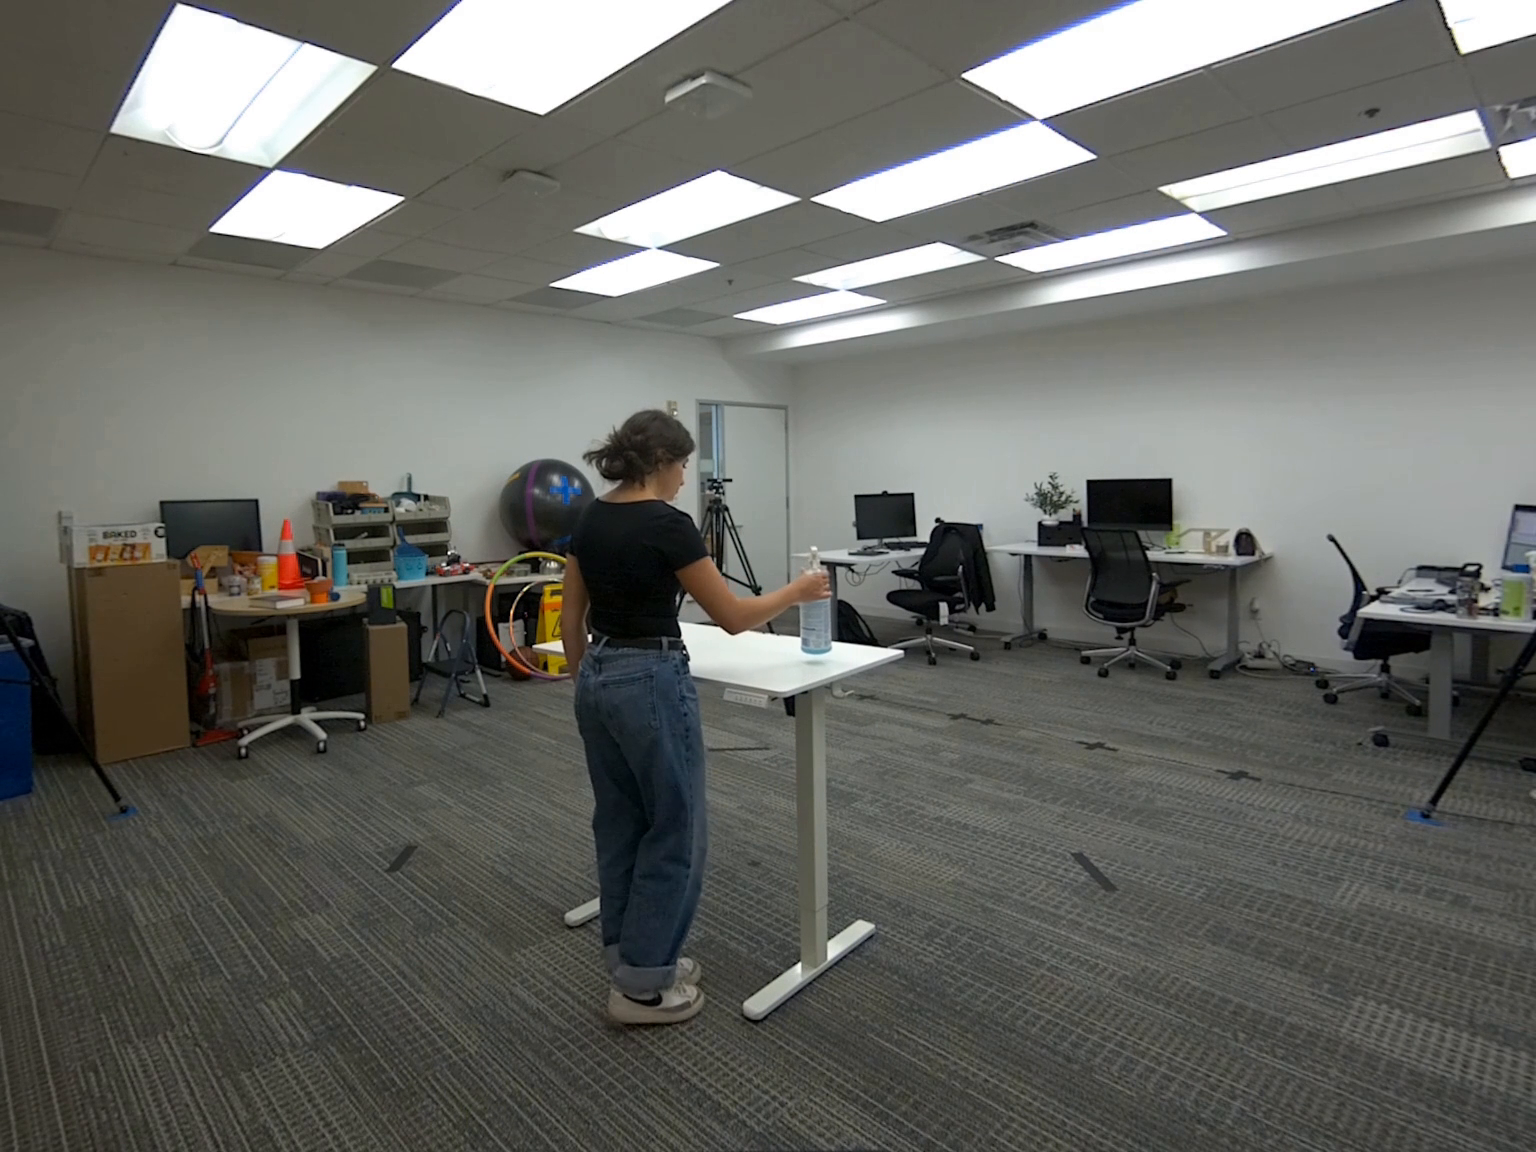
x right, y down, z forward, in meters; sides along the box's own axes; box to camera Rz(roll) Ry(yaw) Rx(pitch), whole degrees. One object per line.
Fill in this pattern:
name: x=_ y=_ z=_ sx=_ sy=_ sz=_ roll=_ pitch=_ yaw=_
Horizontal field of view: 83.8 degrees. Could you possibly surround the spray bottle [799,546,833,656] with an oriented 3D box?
spray bottle: x=0.136 y=0.065 z=2.356 sx=0.089 sy=0.295 sz=0.089 roll=1 pitch=8 yaw=24
